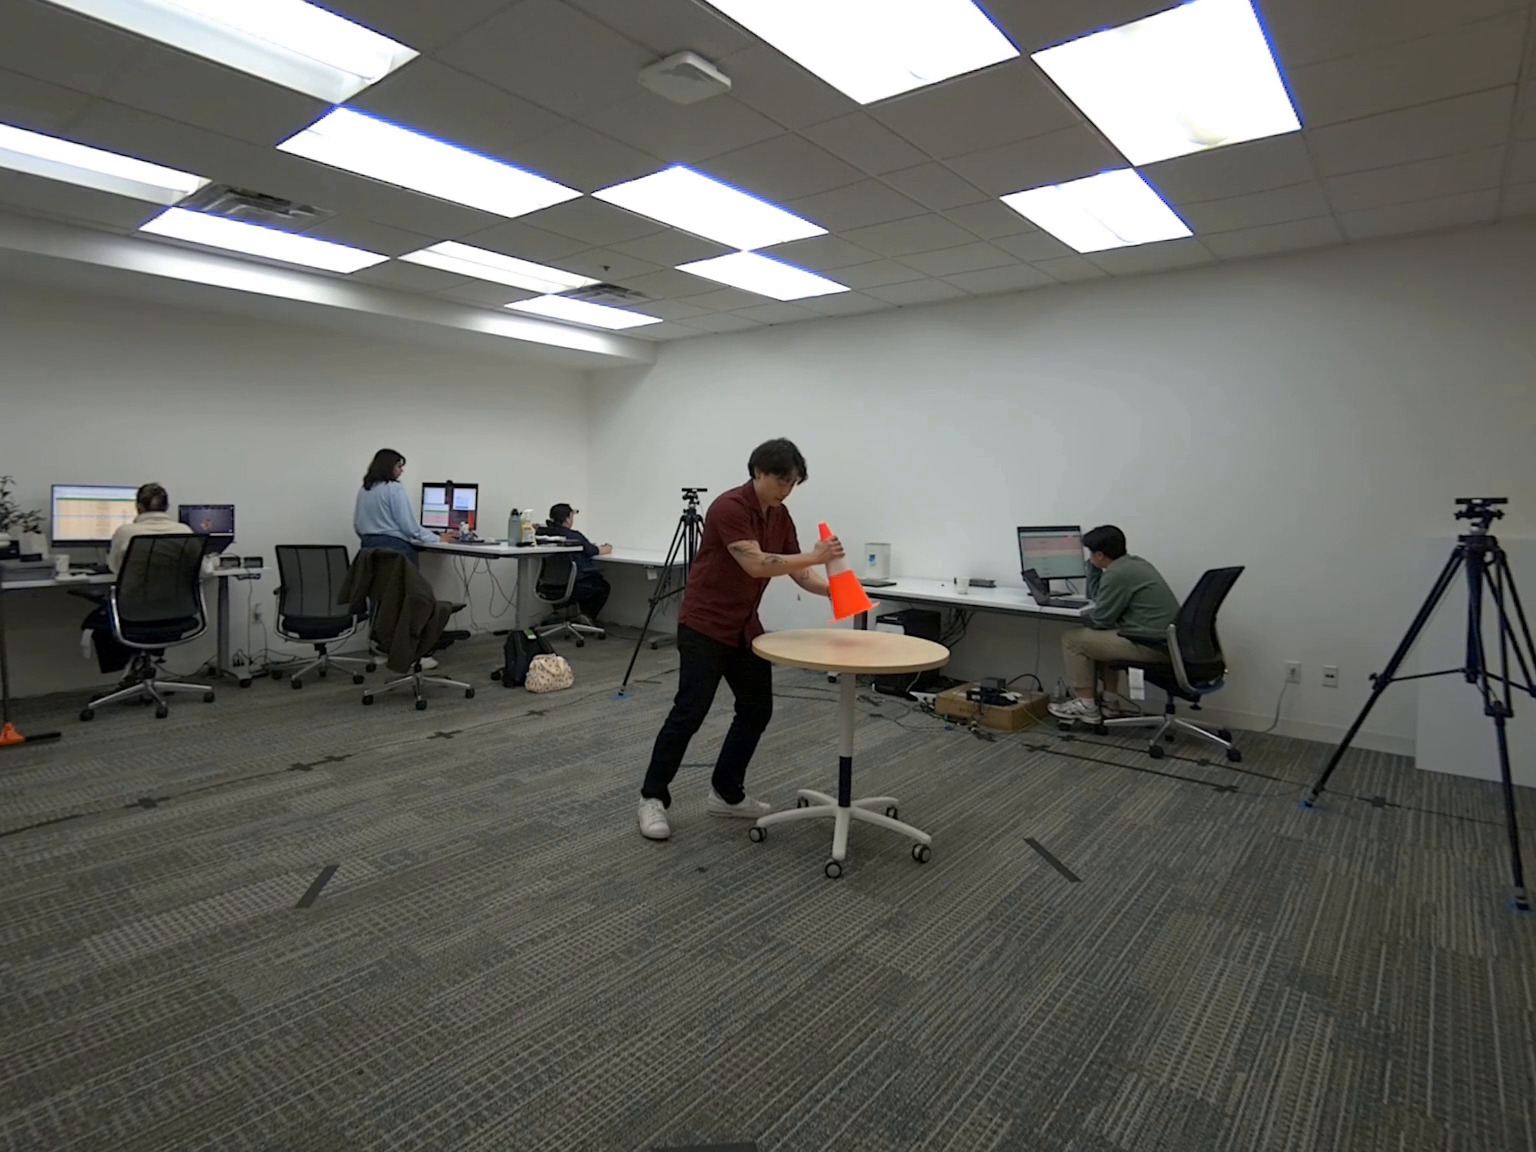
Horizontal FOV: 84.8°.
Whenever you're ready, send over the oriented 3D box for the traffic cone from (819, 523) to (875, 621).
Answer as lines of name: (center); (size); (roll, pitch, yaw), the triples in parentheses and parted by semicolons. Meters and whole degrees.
traffic cone: (0.279, -0.034, 3.411); (0.204, 0.384, 0.204); (-18, -1, -5)
